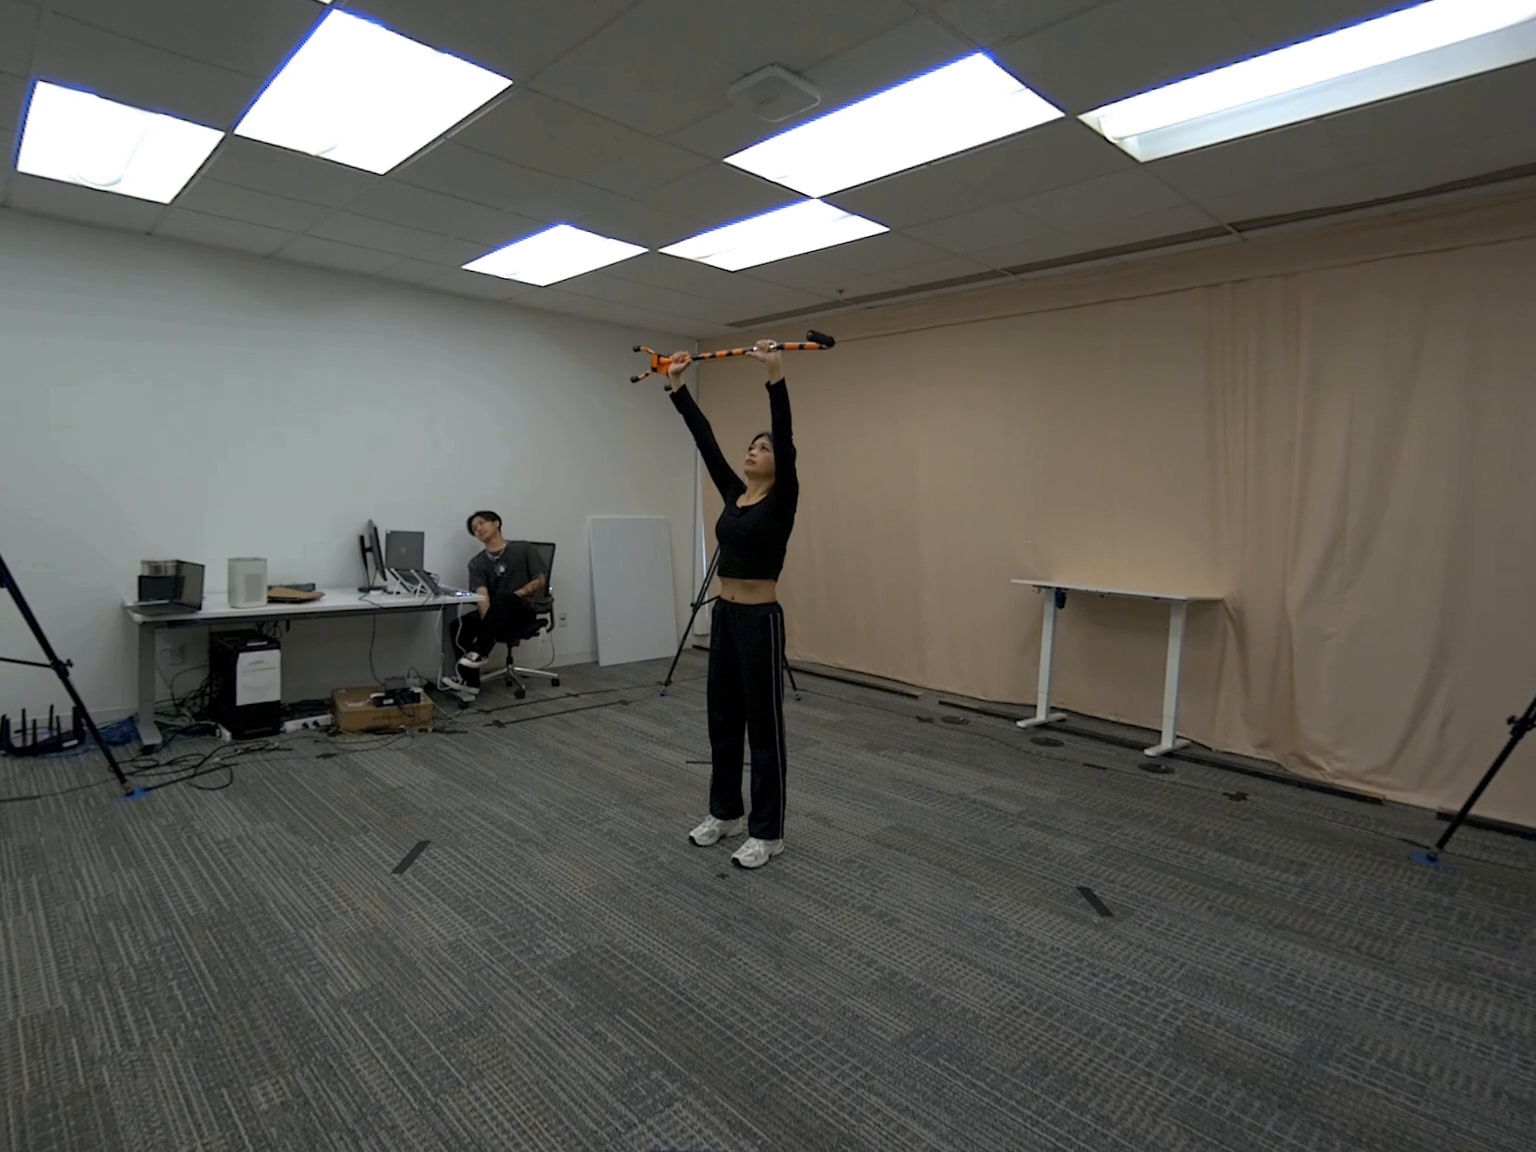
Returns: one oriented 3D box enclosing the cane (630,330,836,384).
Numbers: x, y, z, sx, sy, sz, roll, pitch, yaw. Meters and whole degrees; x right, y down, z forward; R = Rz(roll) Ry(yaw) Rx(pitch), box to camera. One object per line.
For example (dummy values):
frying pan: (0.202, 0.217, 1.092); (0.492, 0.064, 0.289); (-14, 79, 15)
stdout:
cane: (-0.133, -0.798, 3.056); (0.931, 0.151, 0.201); (6, 3, 44)
